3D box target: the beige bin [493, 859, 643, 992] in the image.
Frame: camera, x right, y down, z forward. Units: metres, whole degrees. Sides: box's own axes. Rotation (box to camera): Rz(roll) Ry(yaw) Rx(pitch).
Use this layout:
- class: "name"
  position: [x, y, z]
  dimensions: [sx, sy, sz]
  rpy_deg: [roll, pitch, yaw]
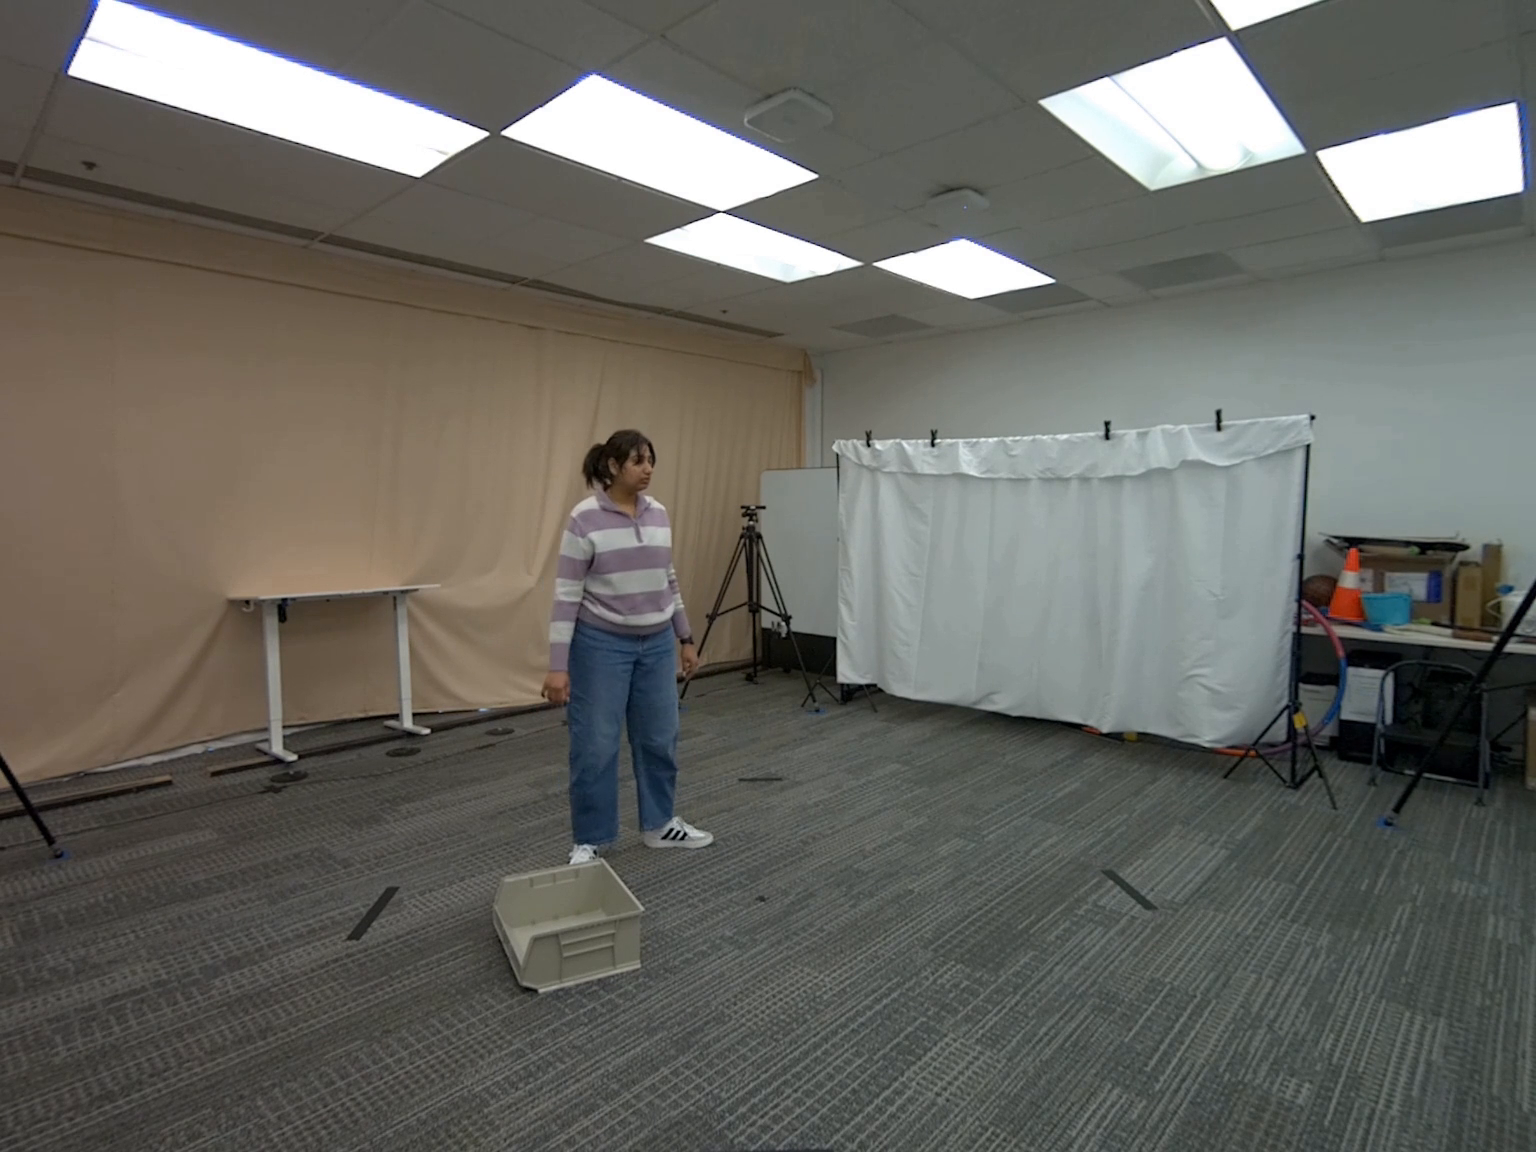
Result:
- class: "beige bin"
  position: [-0.634, 1.082, 2.647]
  dimensions: [0.368, 0.188, 0.434]
  rpy_deg: [-1, 4, -28]
